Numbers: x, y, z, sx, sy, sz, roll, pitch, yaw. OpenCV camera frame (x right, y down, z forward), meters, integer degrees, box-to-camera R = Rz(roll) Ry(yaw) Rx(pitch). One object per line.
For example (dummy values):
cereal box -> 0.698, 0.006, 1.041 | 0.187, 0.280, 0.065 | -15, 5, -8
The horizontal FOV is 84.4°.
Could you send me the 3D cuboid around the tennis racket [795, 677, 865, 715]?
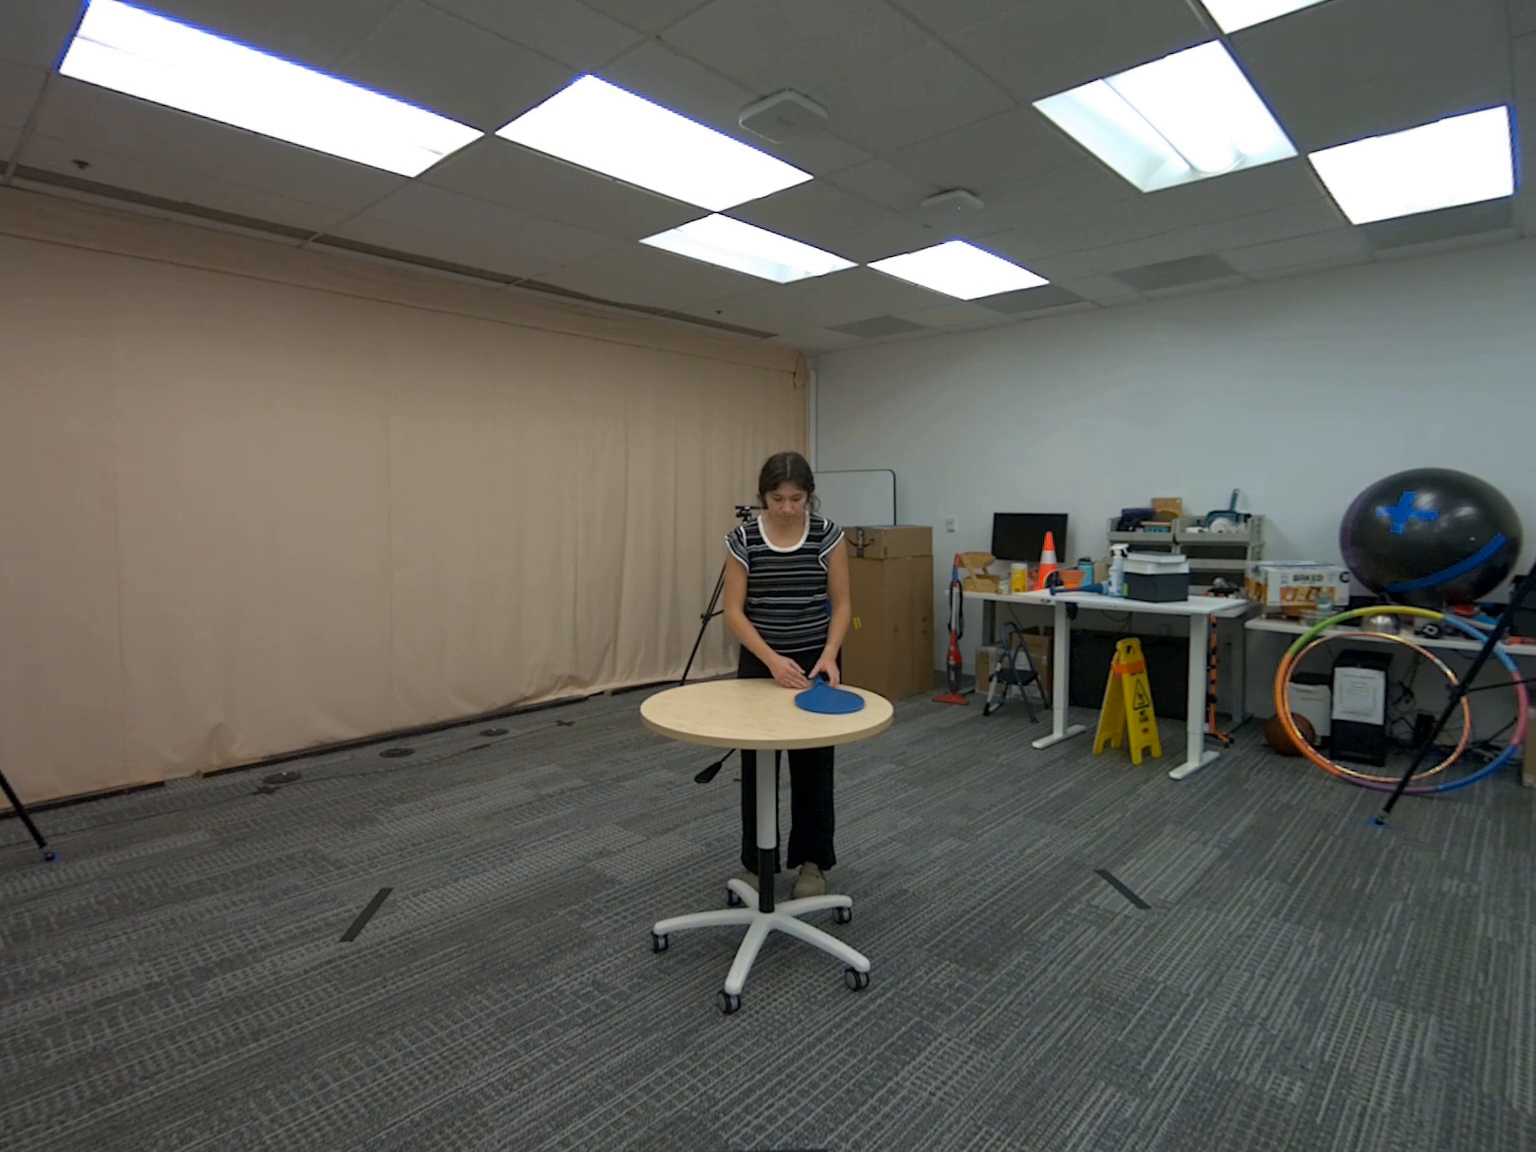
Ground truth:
tennis racket -> 0.192, 0.375, 2.665 | 0.213, 0.031, 0.437 | -2, 6, -6
